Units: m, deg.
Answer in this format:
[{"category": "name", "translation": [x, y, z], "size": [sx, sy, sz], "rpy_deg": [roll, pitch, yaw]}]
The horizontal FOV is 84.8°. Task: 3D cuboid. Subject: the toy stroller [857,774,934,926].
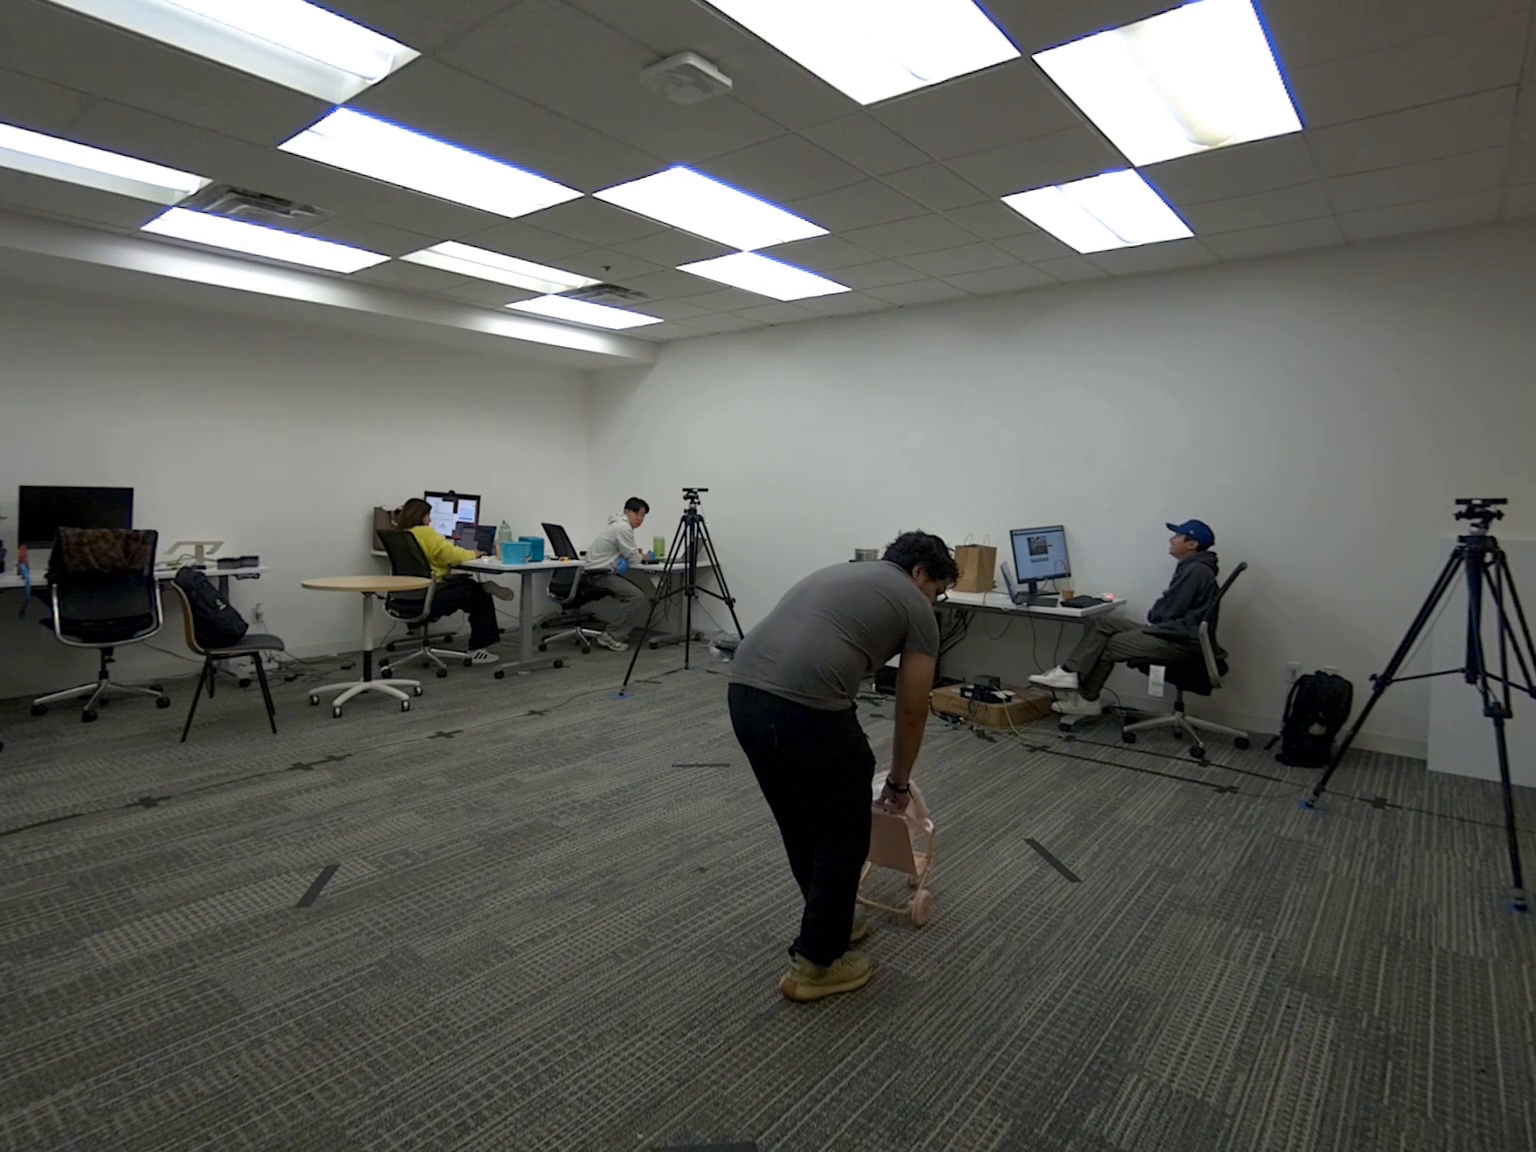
[{"category": "toy stroller", "translation": [0.416, 0.883, 2.856], "size": [0.290, 0.525, 0.337], "rpy_deg": [4, 21, 34]}]
